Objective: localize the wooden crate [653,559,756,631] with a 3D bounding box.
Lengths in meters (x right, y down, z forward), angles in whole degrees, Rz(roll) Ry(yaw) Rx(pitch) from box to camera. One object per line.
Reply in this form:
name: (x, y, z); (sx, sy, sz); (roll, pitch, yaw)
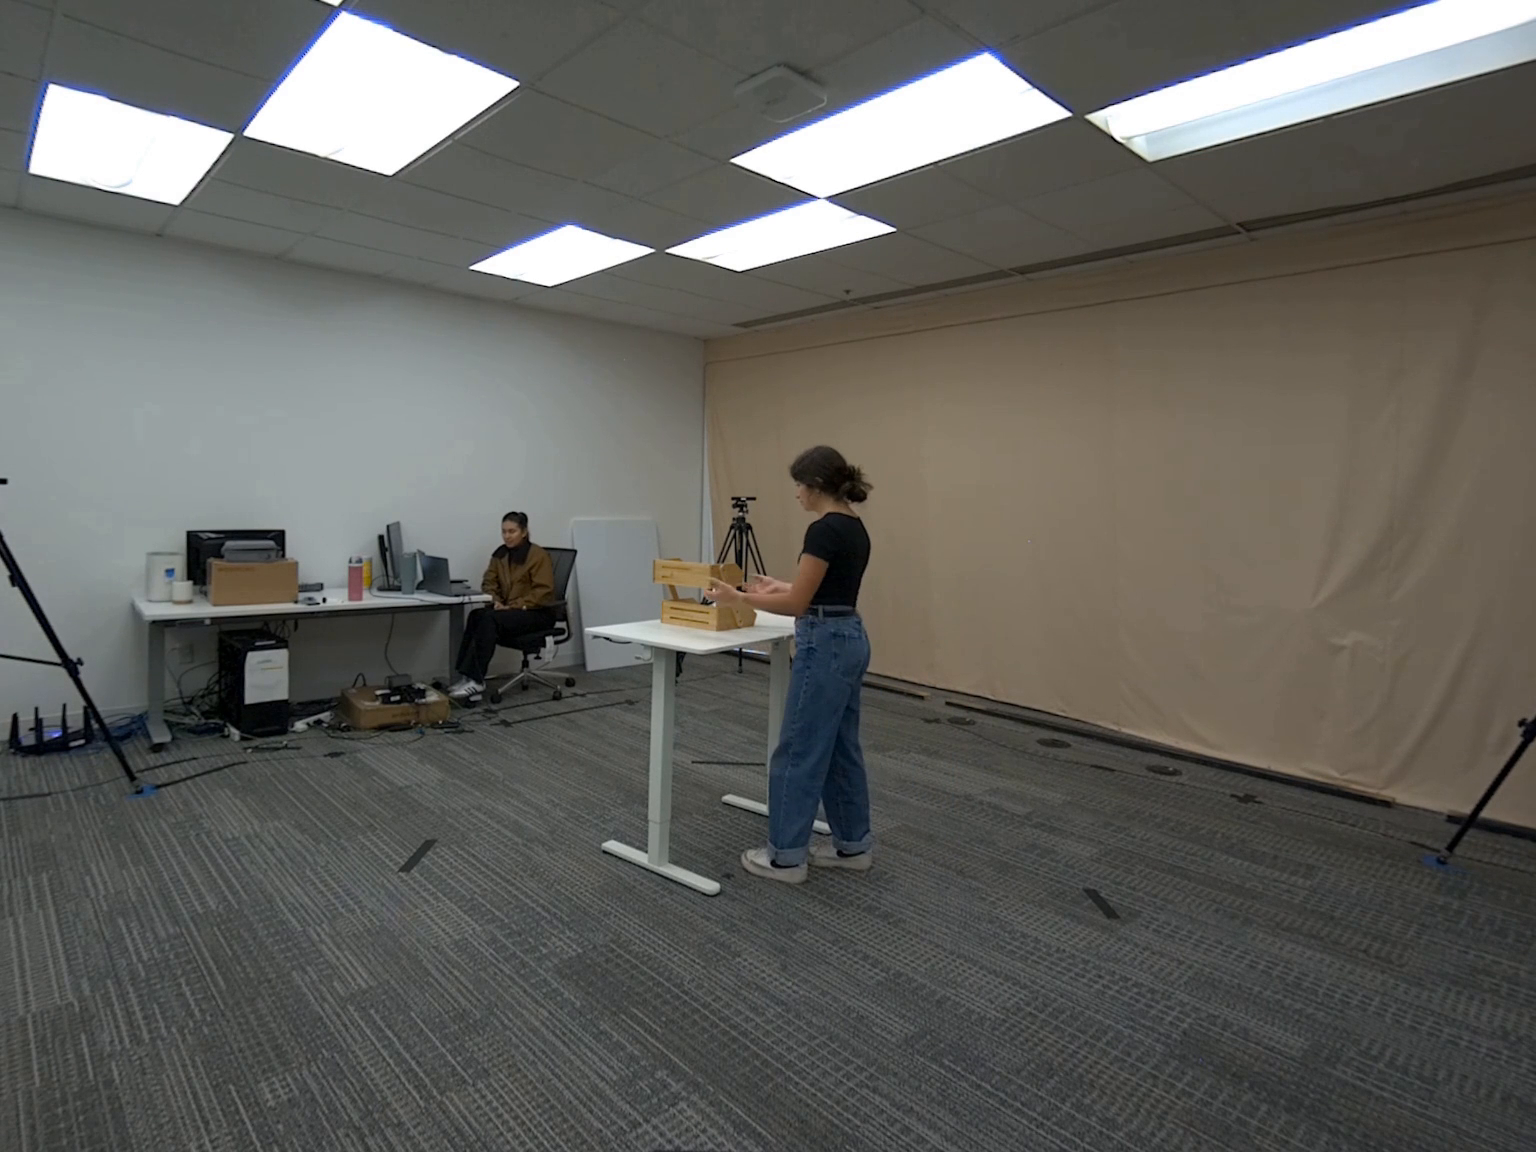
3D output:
wooden crate: (-0.255, 0.063, 3.389); (0.332, 0.272, 0.295); (5, 6, 36)
